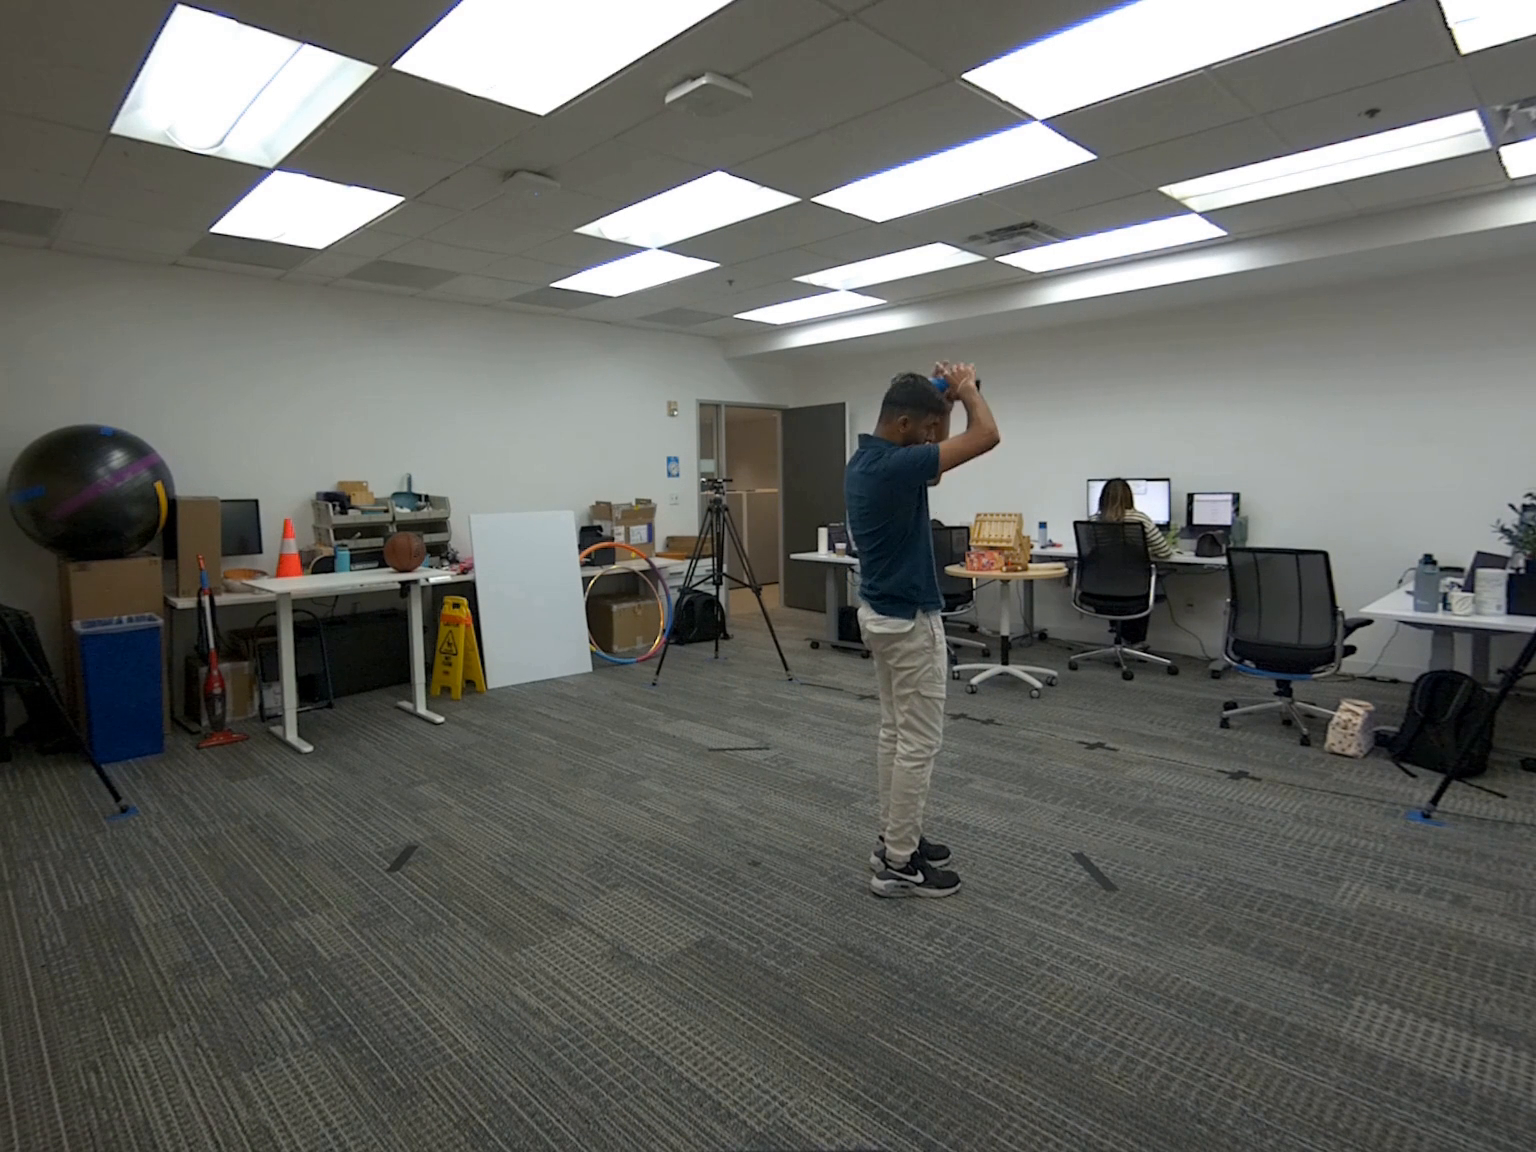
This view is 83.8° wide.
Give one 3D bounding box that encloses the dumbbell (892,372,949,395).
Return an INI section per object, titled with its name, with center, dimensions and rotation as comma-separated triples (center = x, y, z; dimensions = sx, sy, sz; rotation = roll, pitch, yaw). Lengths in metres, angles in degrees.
[dumbbell]
center = 0.599, -0.666, 2.963
dimensions = 0.292, 0.126, 0.106
rotation = -8, -28, -4
